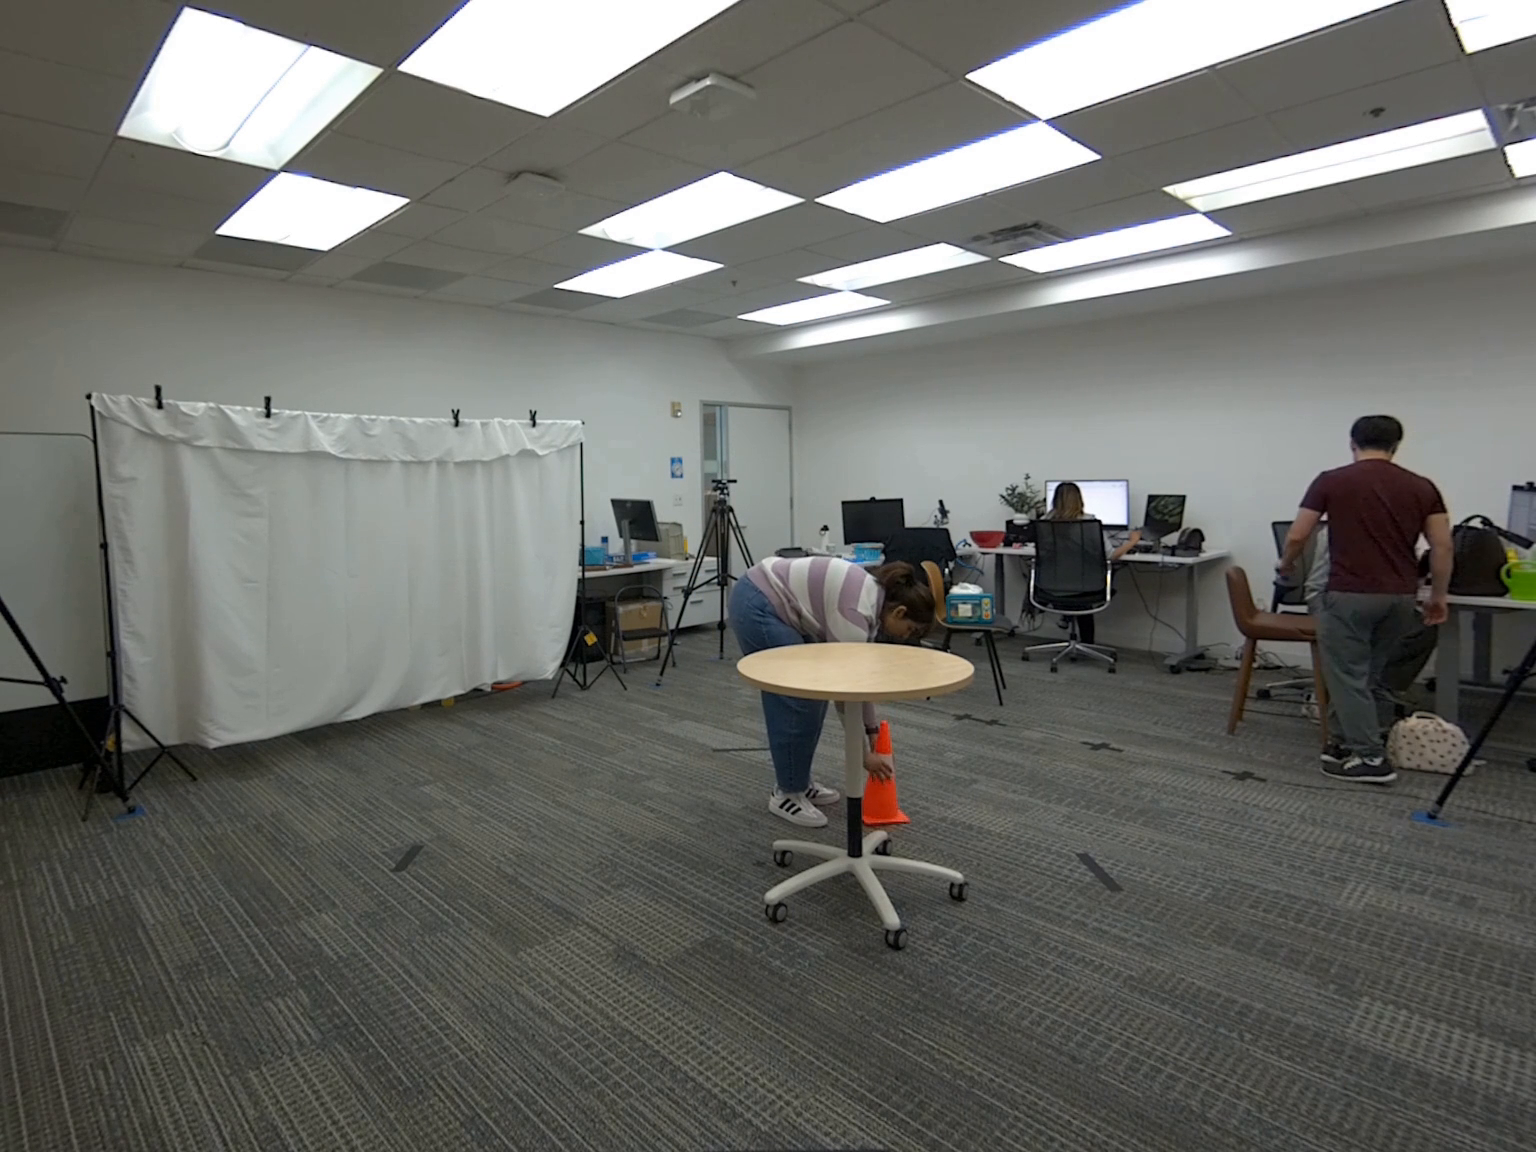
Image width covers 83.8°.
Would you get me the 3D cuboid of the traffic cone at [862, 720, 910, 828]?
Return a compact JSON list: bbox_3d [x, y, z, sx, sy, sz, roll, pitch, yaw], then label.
[{"bbox_3d":[0.458,0.782,3.508,0.201,0.382,0.208,1,5,-24],"label":"traffic cone"}]
